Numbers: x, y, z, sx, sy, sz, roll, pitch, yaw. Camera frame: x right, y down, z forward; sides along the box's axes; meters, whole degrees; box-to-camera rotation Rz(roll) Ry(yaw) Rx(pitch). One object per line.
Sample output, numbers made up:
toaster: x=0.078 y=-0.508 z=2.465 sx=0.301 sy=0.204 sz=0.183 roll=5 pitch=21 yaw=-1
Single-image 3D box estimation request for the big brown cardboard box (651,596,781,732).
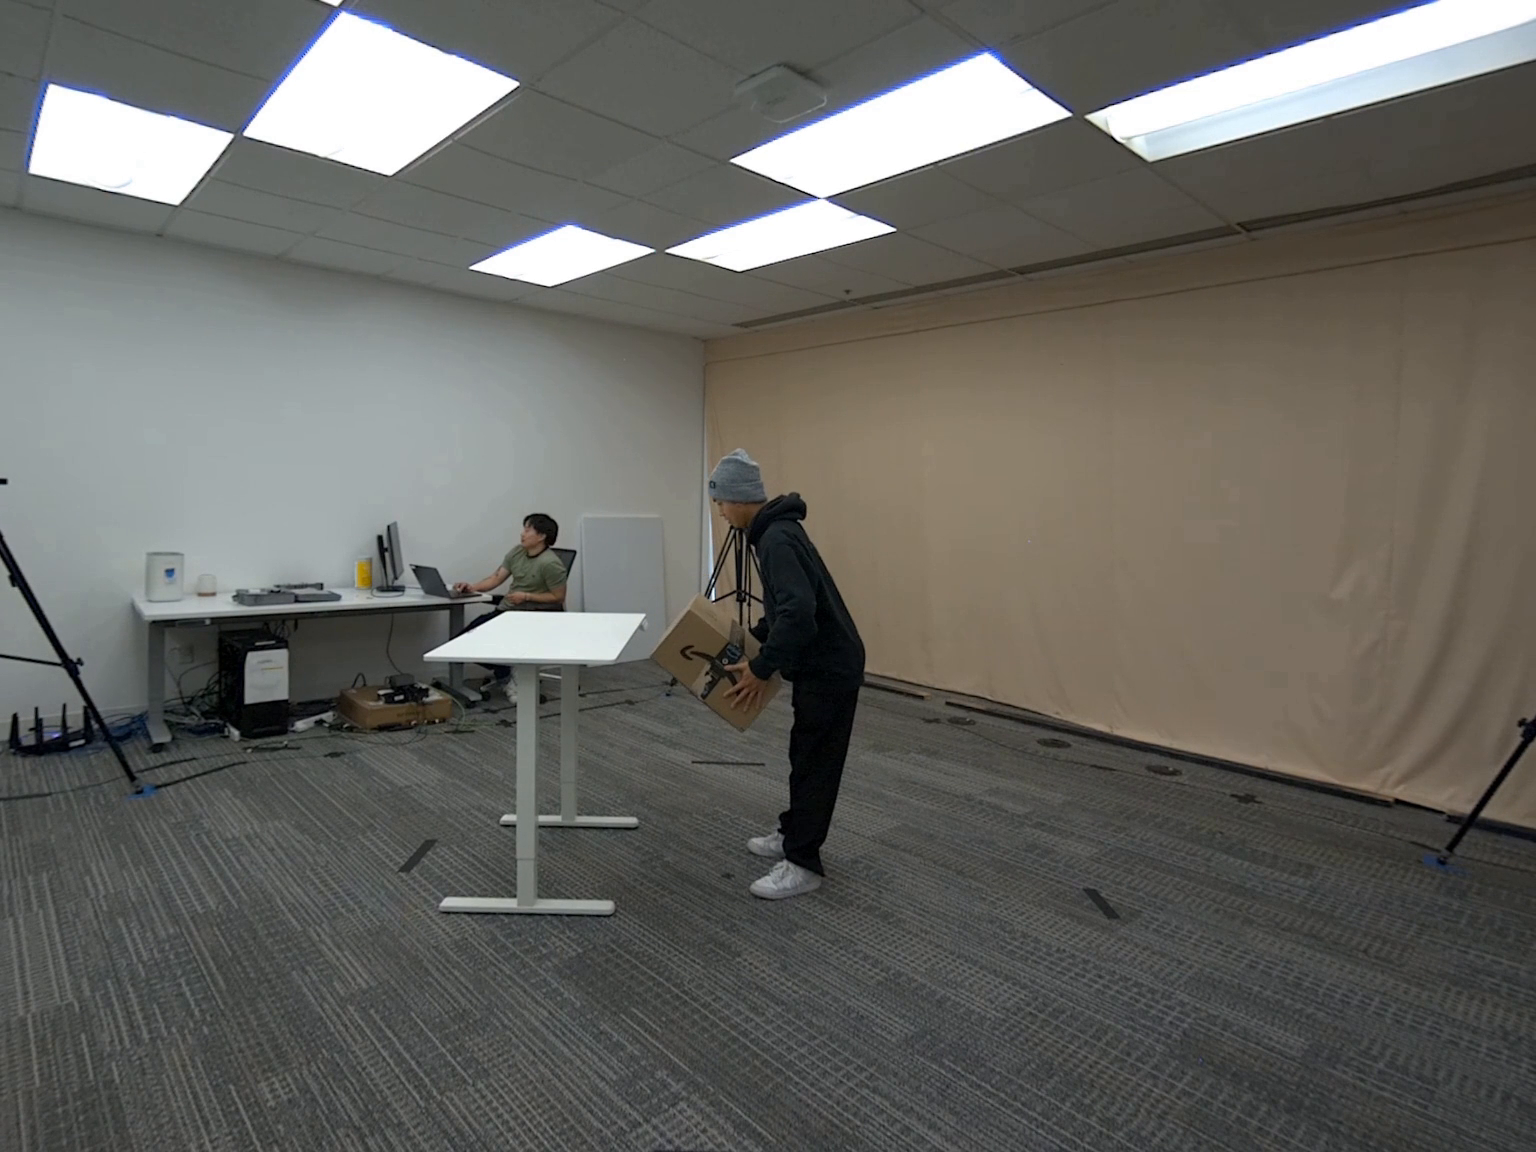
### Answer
big brown cardboard box: x=-0.186 y=0.293 z=3.138 sx=0.417 sy=0.233 sz=0.590 roll=37 pitch=2 yaw=-2
